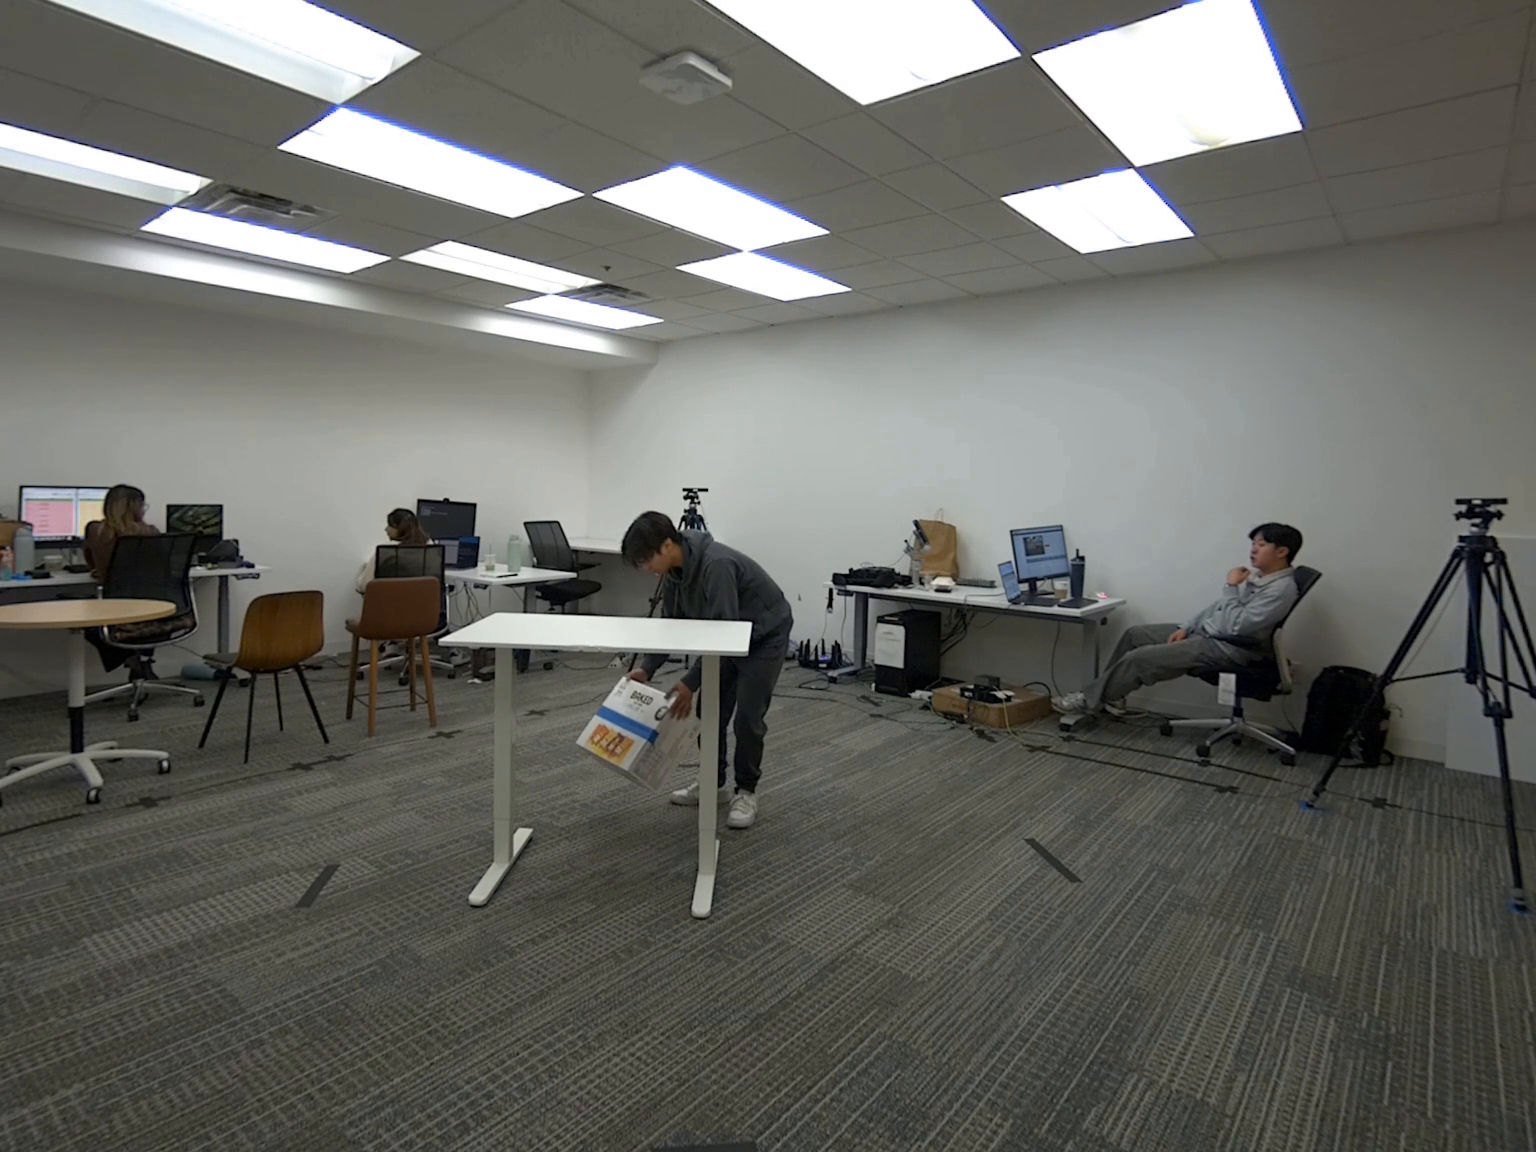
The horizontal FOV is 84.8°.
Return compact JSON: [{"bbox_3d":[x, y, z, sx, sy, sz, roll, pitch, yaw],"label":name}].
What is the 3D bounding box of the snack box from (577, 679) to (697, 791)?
[{"bbox_3d":[-0.541,0.650,3.517,0.420,0.341,0.198,9,-32,48],"label":"snack box"}]
